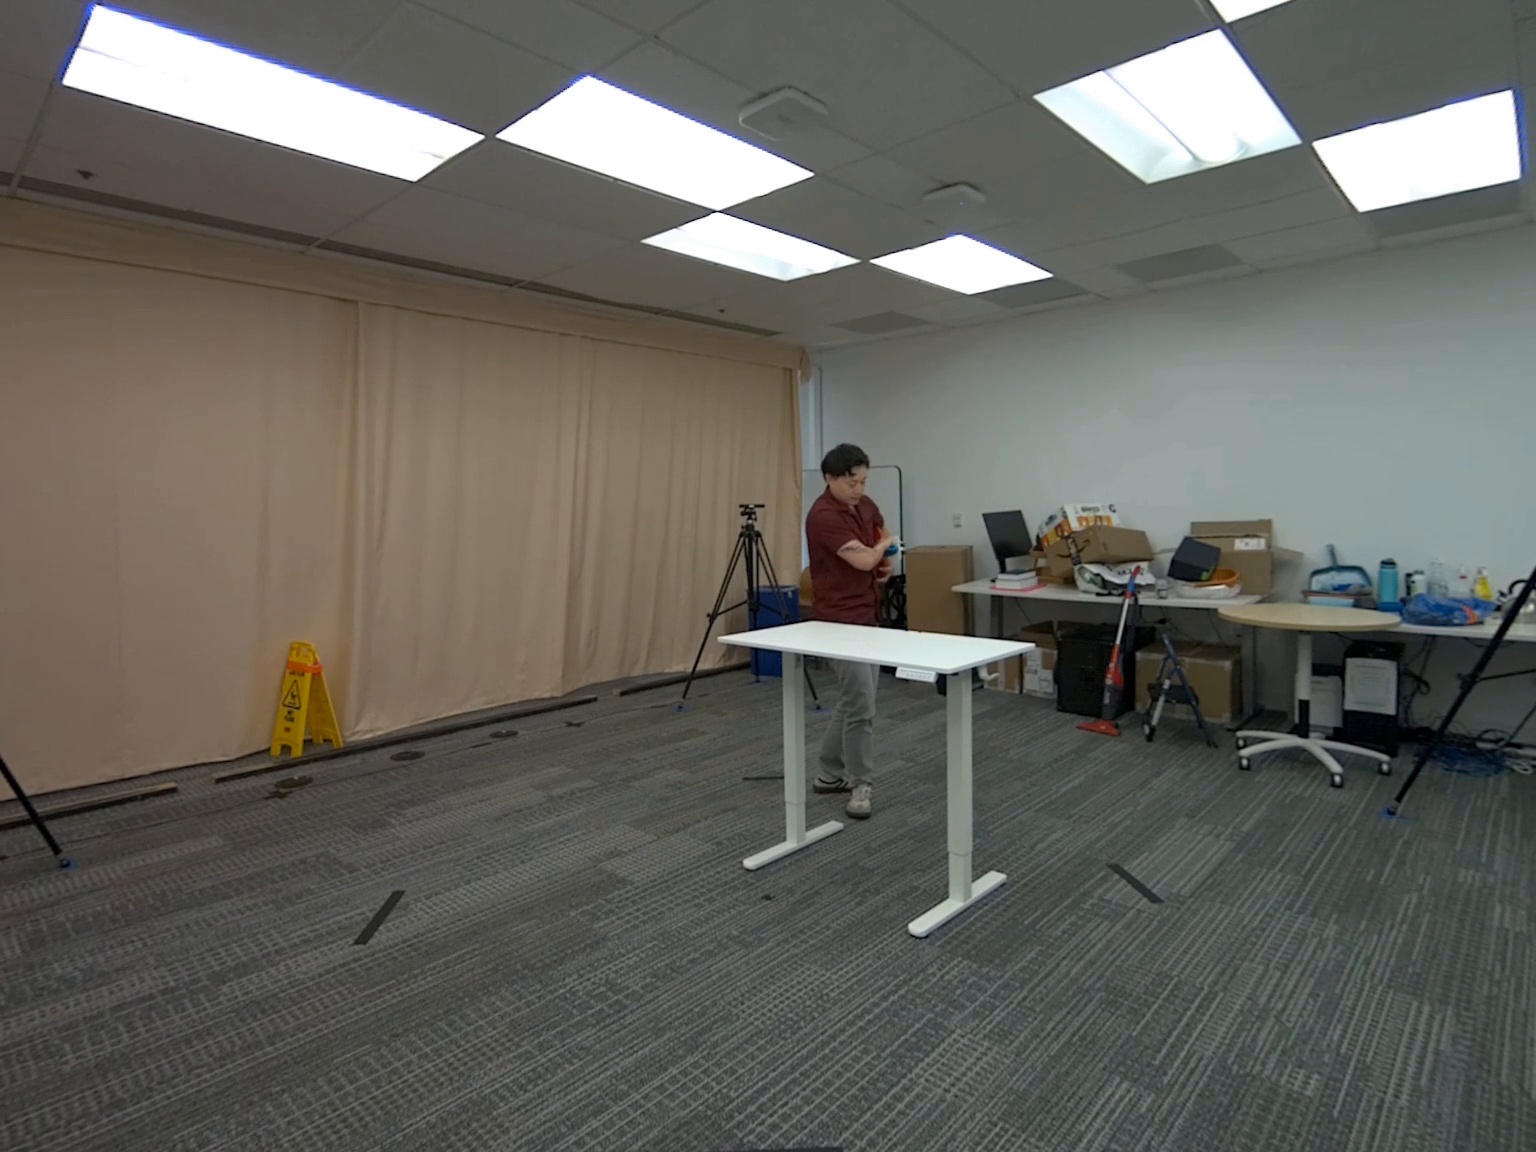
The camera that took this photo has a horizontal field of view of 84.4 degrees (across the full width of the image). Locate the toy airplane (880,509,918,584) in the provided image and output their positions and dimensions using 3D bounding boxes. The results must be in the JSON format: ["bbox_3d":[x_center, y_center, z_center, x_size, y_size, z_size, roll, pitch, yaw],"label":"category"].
[{"bbox_3d":[0.537,-0.136,4.065,0.153,0.257,0.259,-5,-32,-27],"label":"toy airplane"}]
